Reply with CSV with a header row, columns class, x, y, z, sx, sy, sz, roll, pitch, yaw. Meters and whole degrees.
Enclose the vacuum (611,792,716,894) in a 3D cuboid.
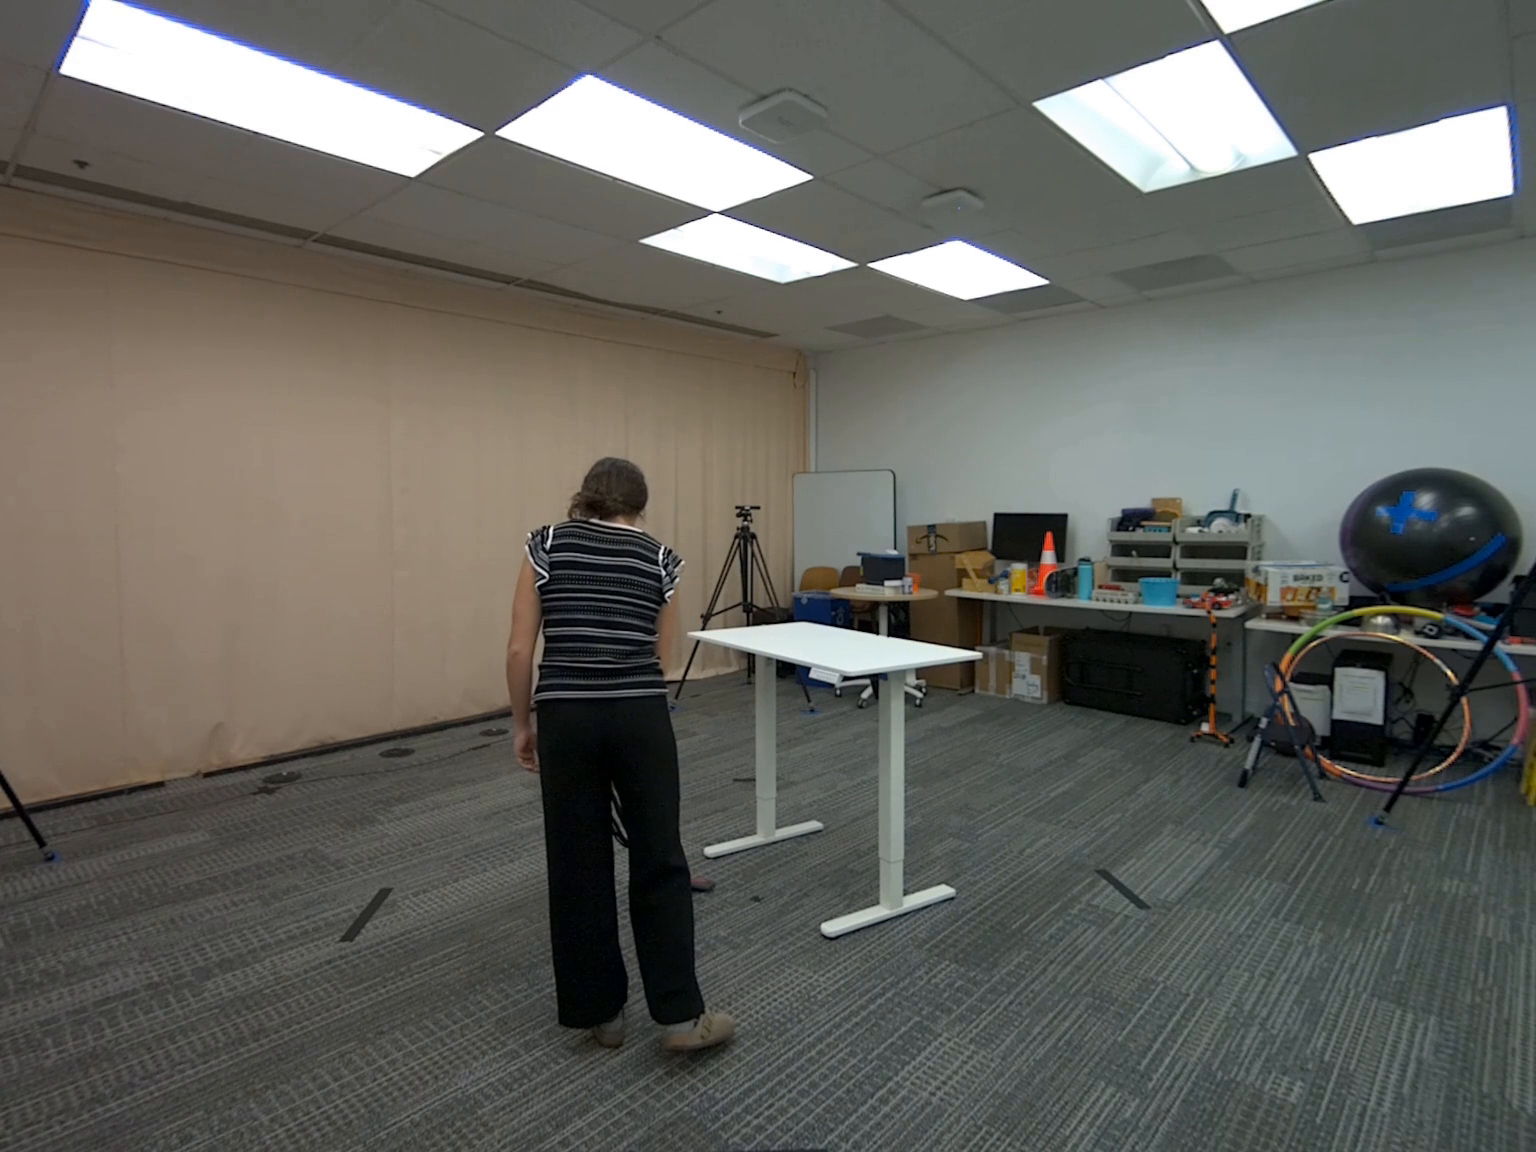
class,x,y,z,sx,sy,sz,roll,pitch,yaw
vacuum,-0.436,0.805,2.707,0.256,0.146,1.020,-5,-42,11
